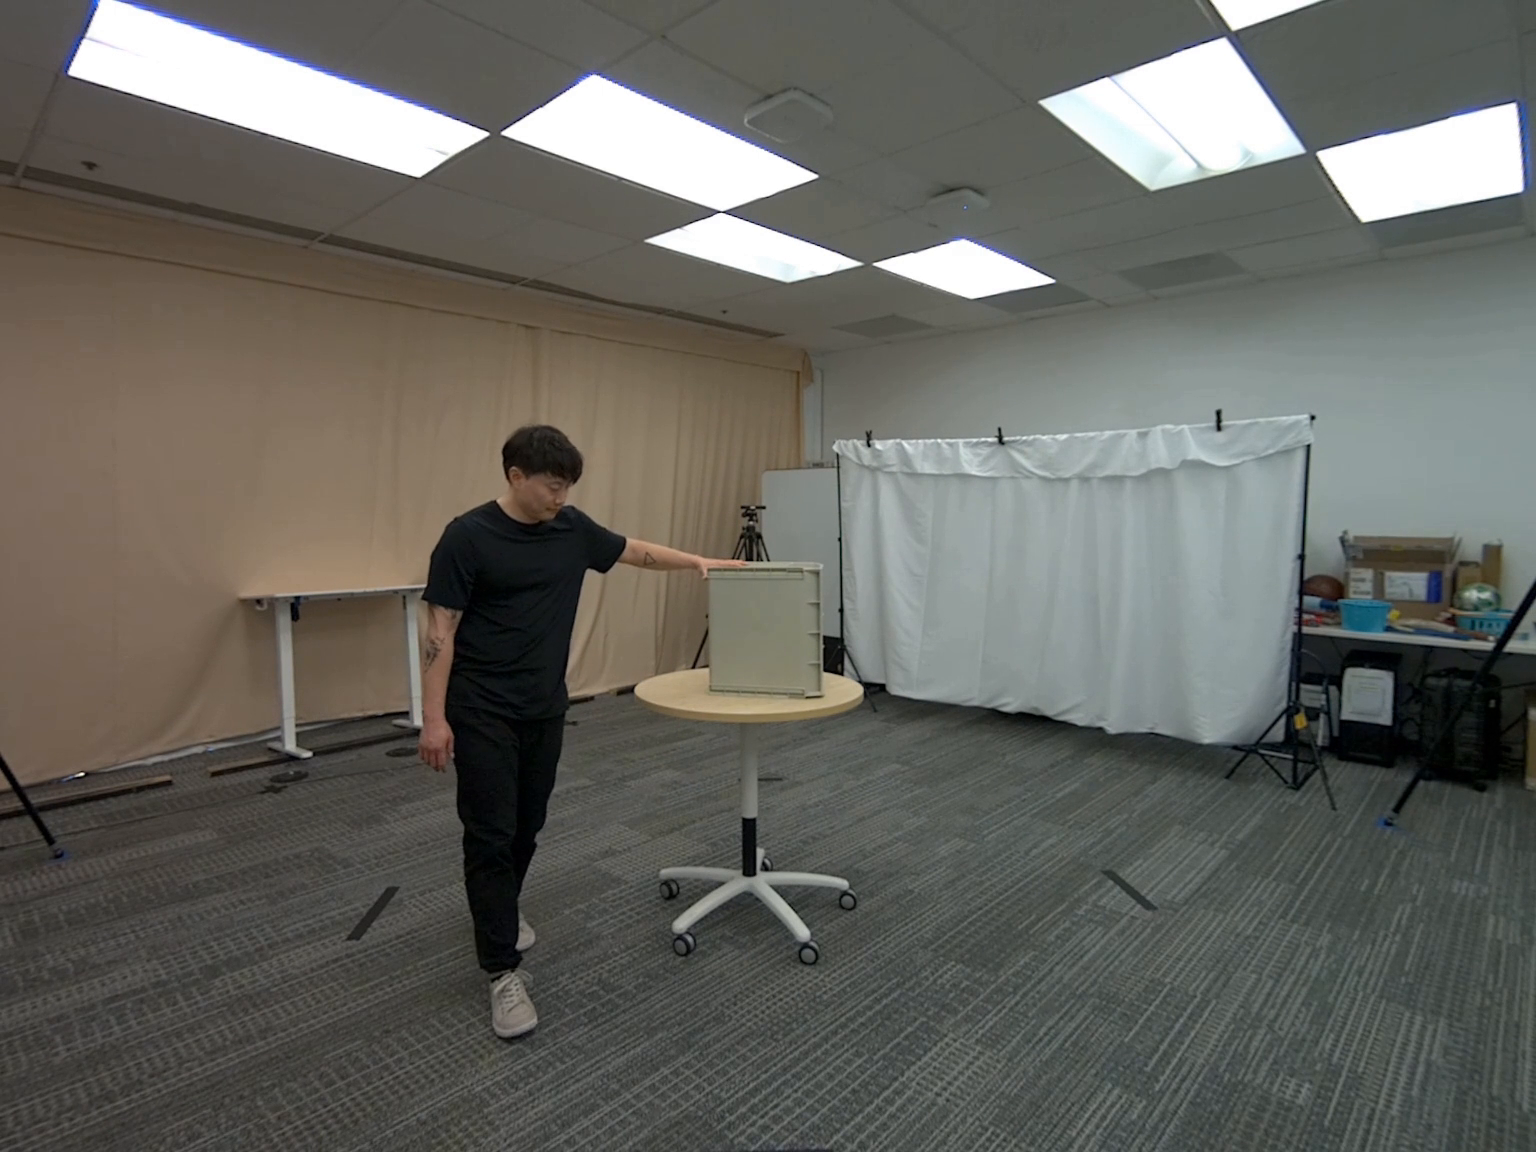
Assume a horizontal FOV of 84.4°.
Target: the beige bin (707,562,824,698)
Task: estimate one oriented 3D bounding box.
[{"bbox_3d":[0.002,0.171,2.743,0.383,0.421,0.186,0,4,14],"label":"beige bin"}]
